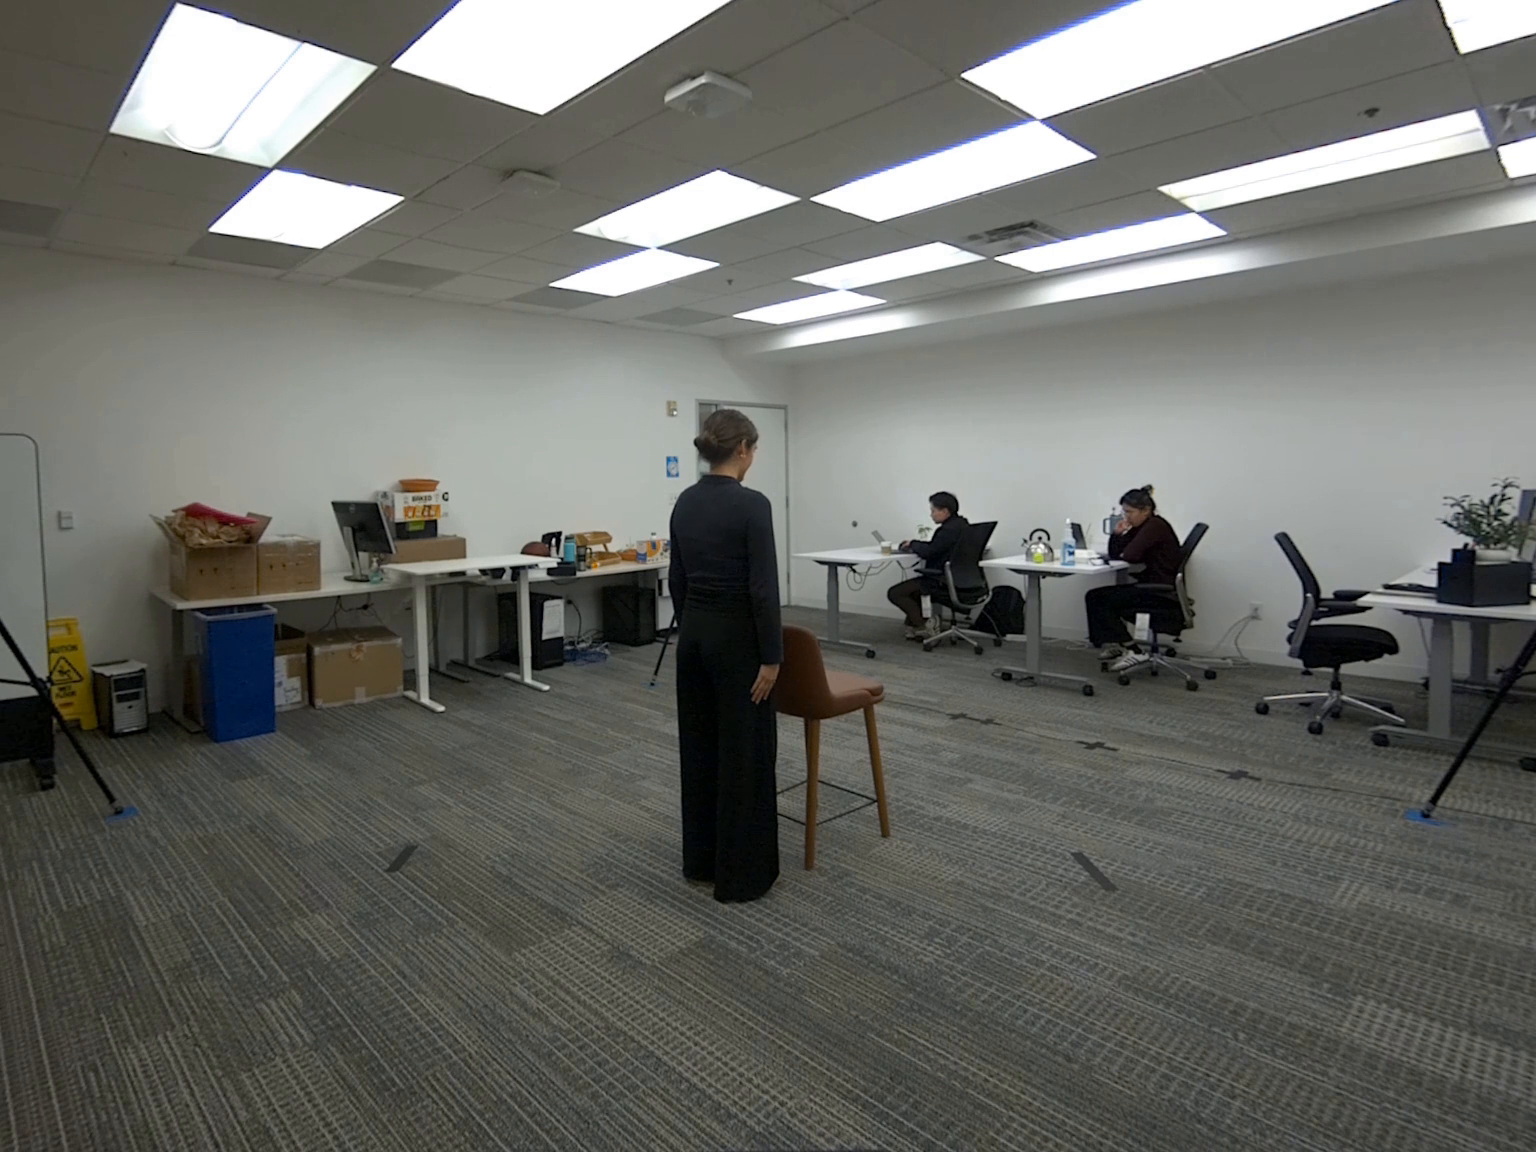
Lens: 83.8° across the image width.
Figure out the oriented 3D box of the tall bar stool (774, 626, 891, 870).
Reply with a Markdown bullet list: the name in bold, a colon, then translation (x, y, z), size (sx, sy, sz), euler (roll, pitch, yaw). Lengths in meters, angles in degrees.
- **tall bar stool**: translation (0.164, 0.582, 3.293), size (0.456, 0.885, 0.470), euler (-7, 7, -42)
